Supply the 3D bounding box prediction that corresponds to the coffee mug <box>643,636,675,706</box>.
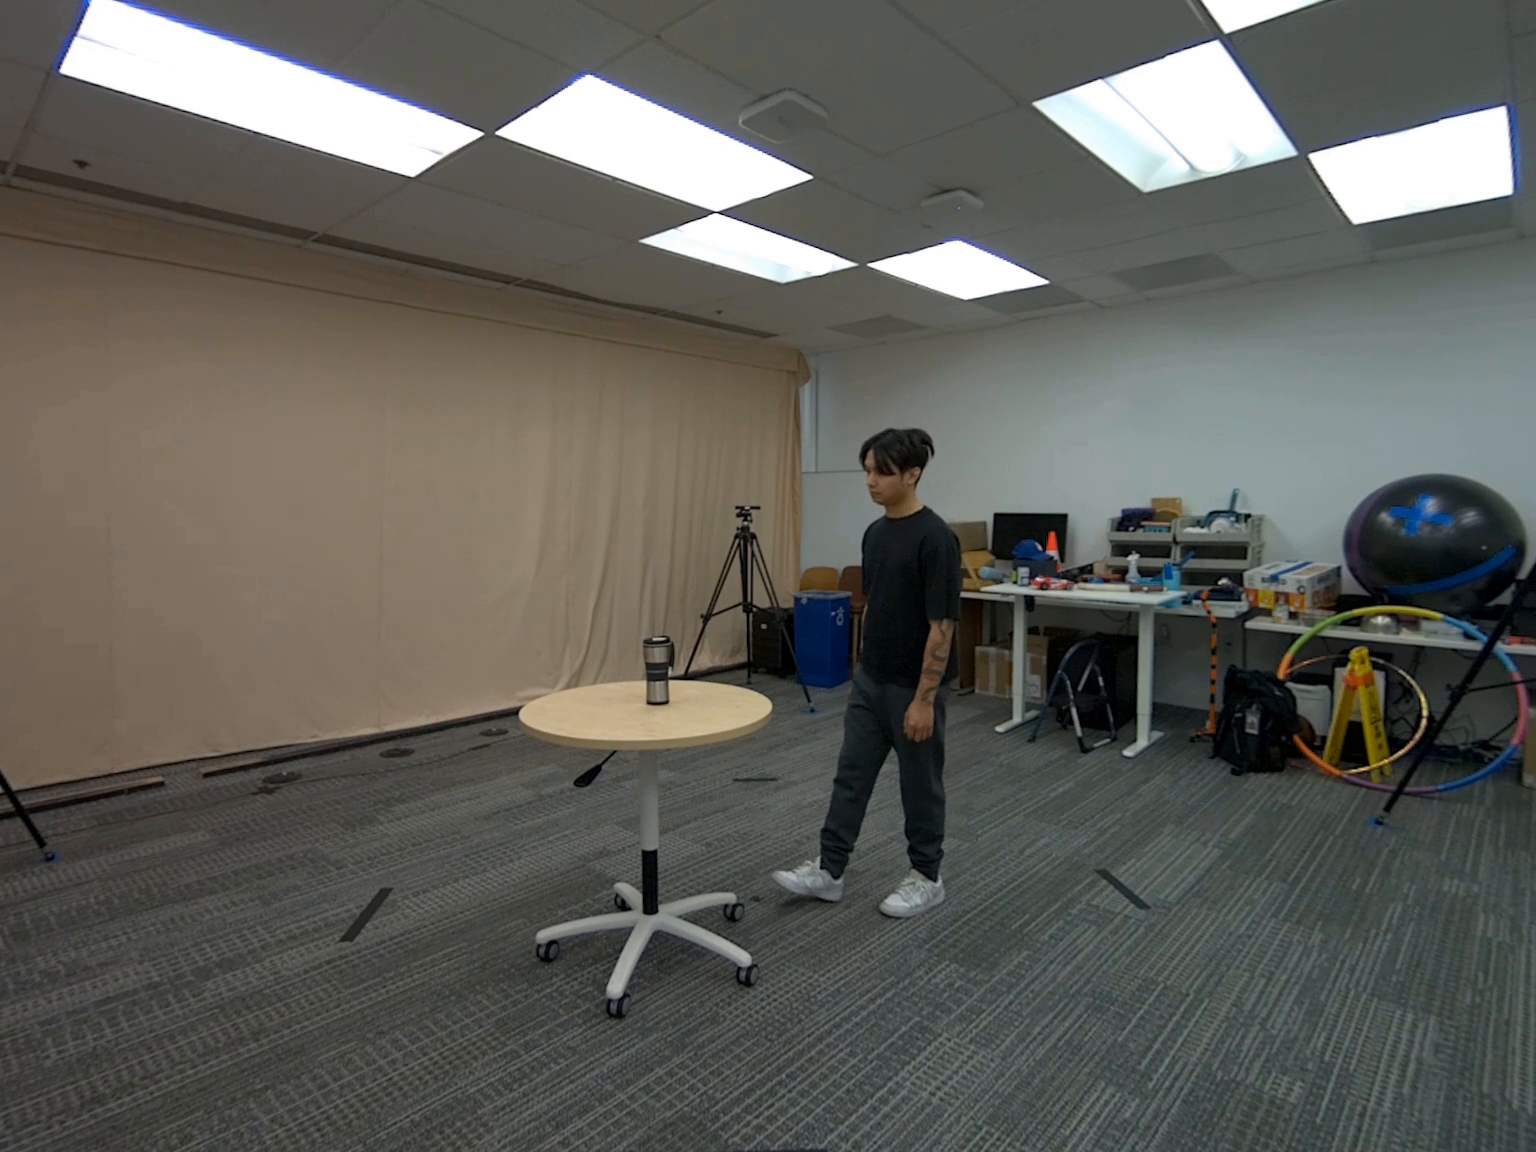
[{"bbox_3d":[-0.322,0.296,2.616,0.118,0.203,0.090,-6,1,-35],"label":"coffee mug"}]
